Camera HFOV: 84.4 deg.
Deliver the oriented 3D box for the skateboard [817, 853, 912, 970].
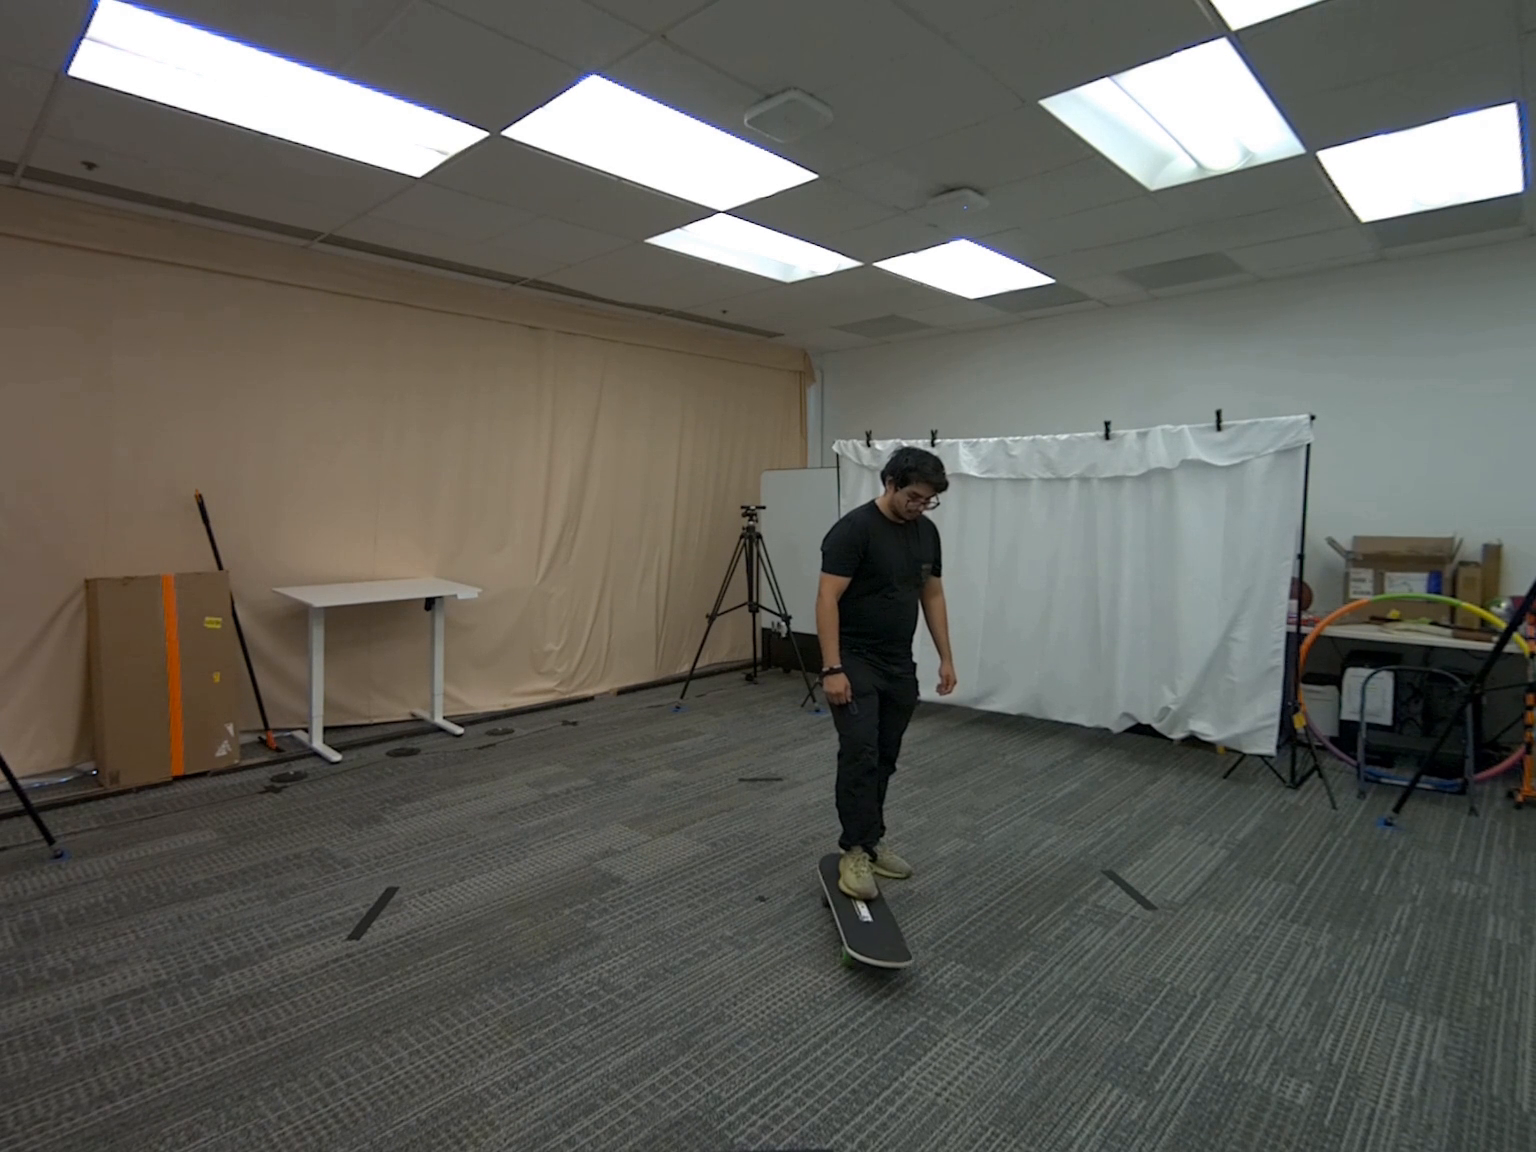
[{"bbox_3d":[0.311,1.105,2.732,0.193,0.110,0.789,4,3,-5],"label":"skateboard"}]
